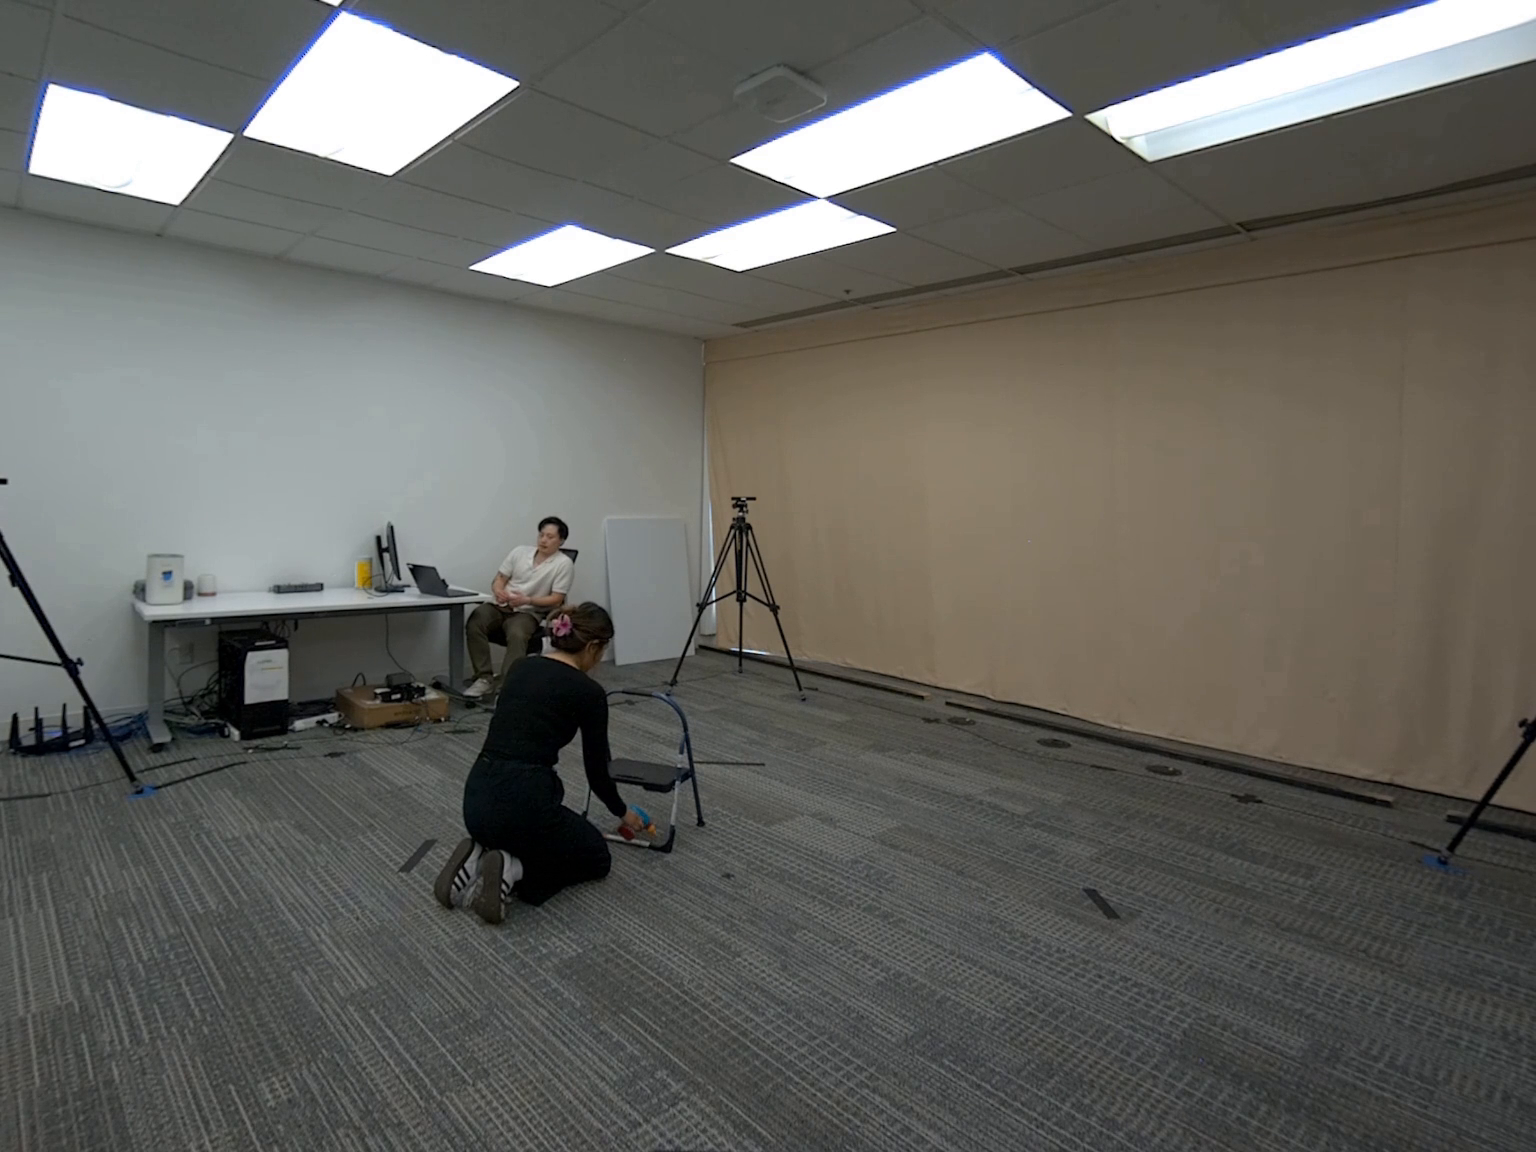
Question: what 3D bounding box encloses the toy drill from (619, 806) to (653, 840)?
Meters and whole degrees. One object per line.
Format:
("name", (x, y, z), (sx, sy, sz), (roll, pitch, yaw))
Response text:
("toy drill", (-0.510, 0.998, 3.292), (0.061, 0.169, 0.146), (-35, 3, 23))
